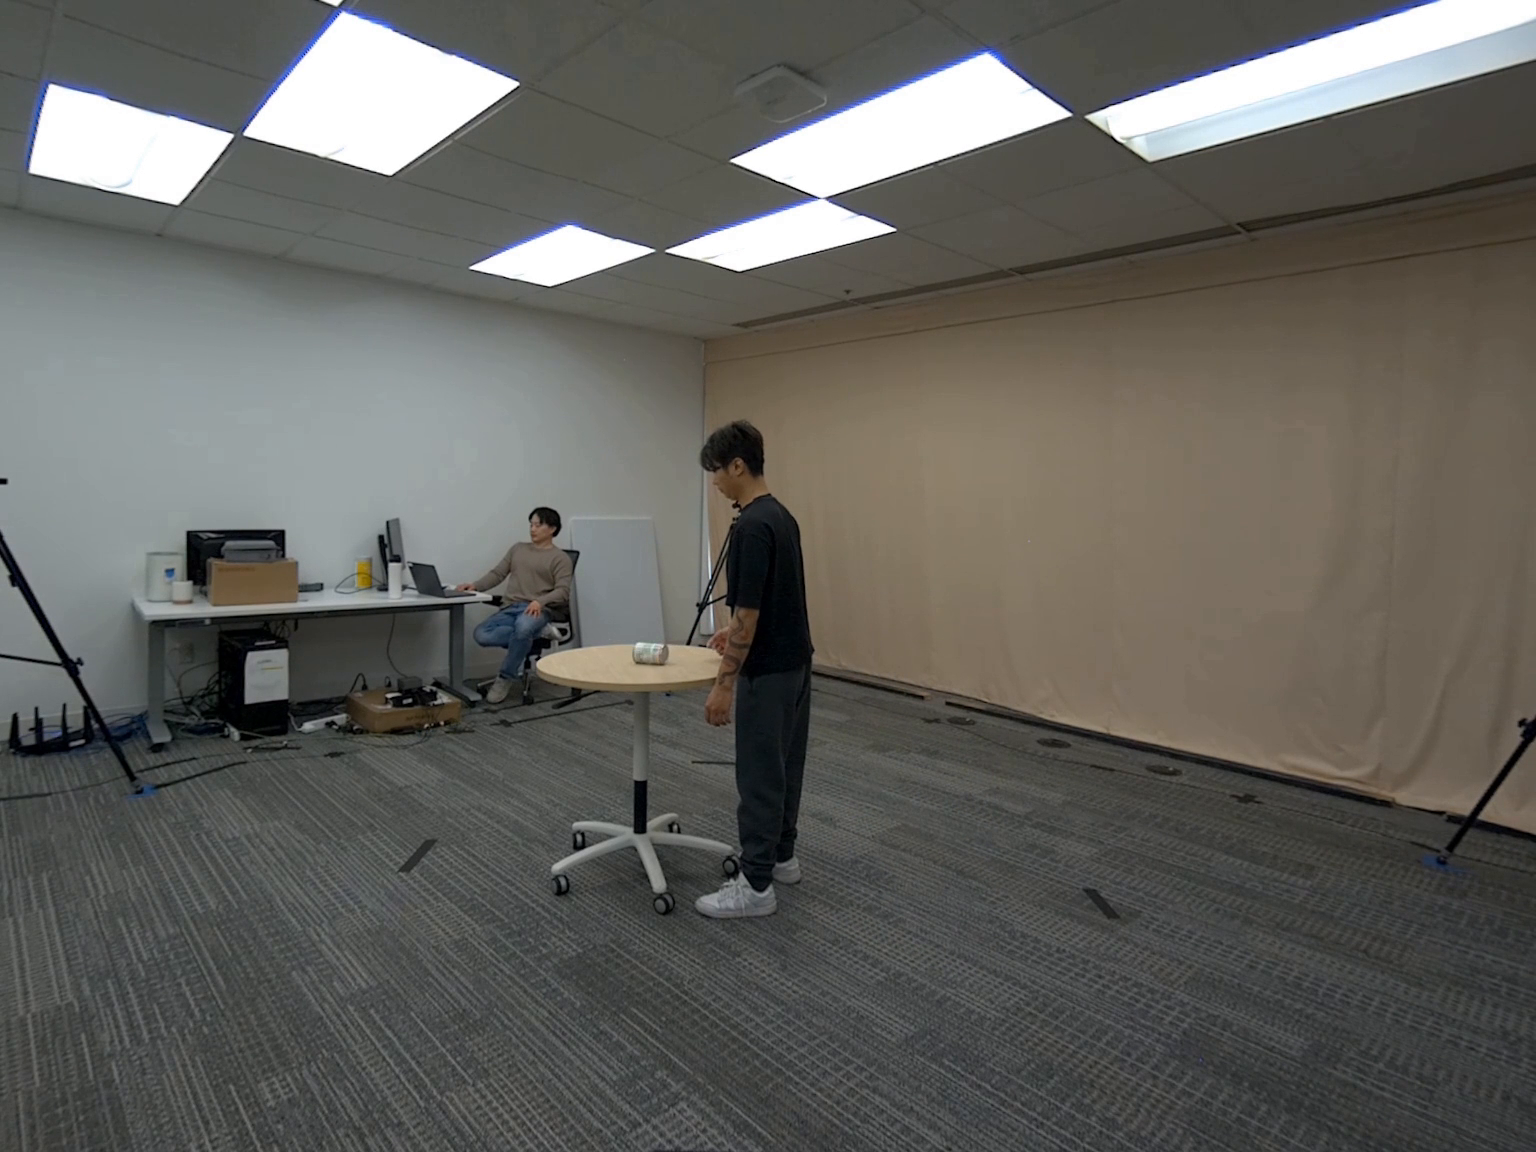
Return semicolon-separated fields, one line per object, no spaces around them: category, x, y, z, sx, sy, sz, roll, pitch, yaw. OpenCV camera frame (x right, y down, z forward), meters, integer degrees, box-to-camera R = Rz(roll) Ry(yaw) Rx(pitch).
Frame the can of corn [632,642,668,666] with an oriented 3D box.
can of corn;-0.432;0.281;3.074;0.112;0.074;0.074;3;4;11
